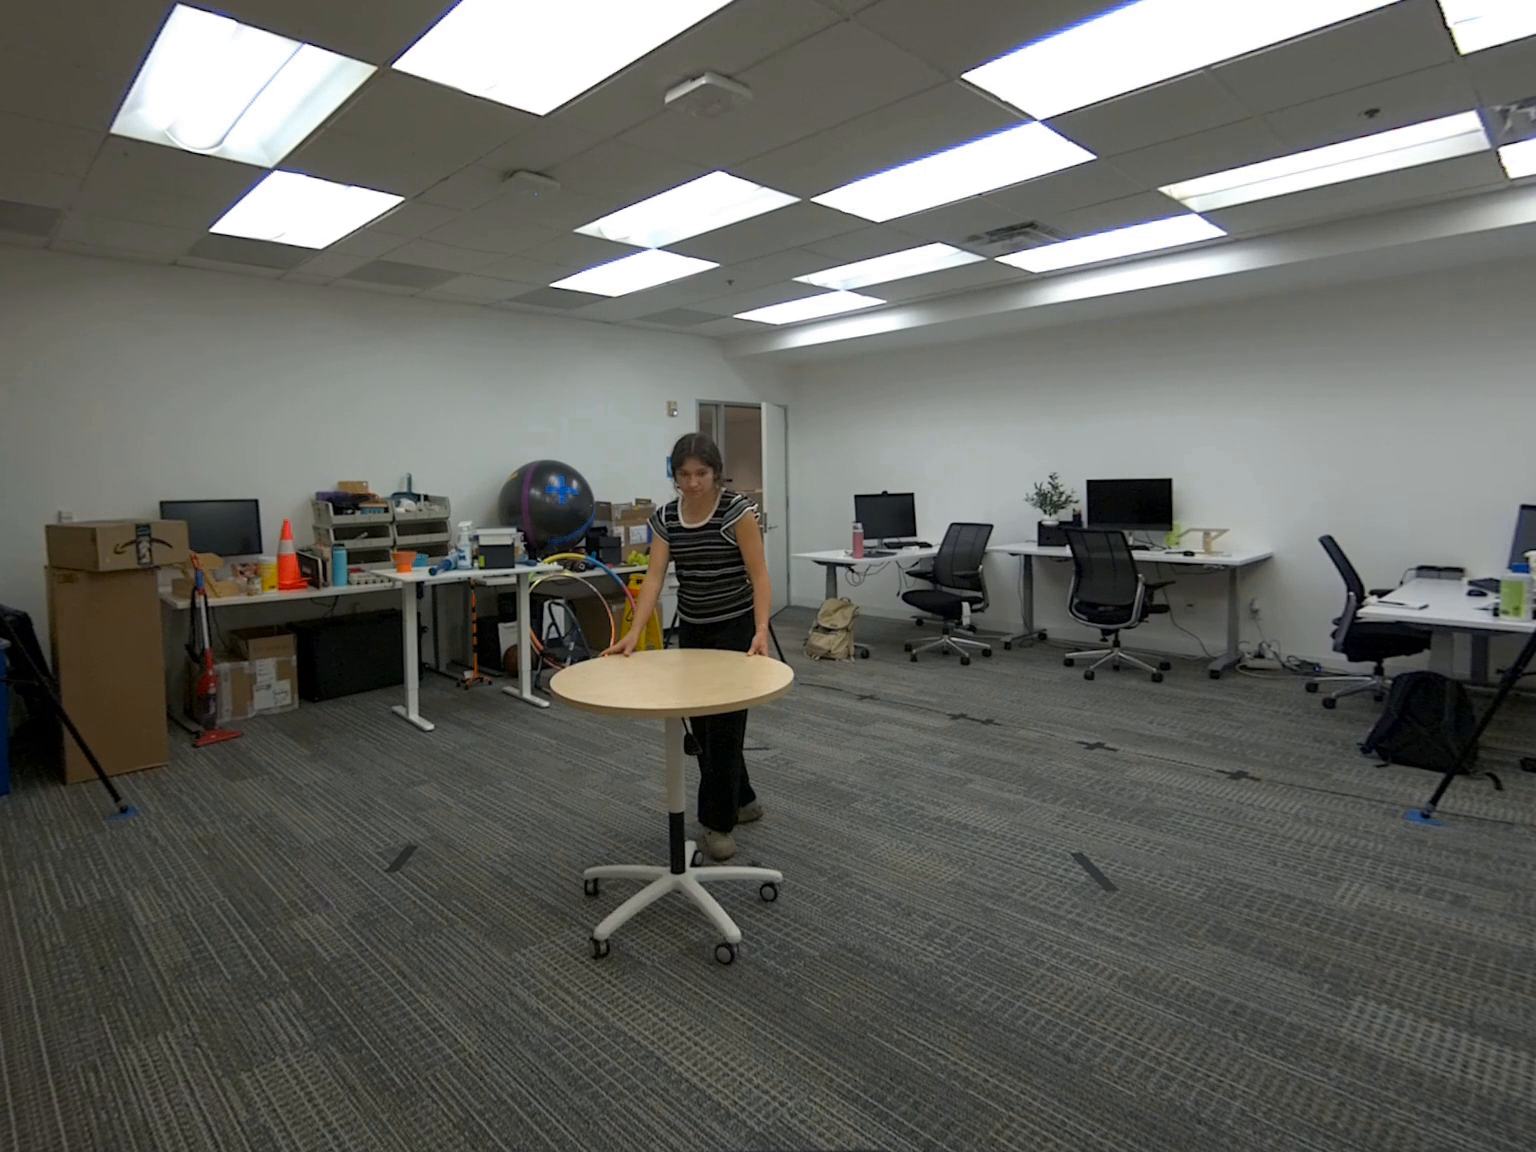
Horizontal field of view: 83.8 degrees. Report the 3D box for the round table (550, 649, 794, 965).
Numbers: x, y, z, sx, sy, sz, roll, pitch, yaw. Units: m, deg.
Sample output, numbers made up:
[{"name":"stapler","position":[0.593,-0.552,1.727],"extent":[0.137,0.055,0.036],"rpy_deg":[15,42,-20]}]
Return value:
[{"name":"round table","position":[-0.289,0.701,2.718],"extent":[0.784,0.783,0.789],"rpy_deg":[-2,5,-2]}]
